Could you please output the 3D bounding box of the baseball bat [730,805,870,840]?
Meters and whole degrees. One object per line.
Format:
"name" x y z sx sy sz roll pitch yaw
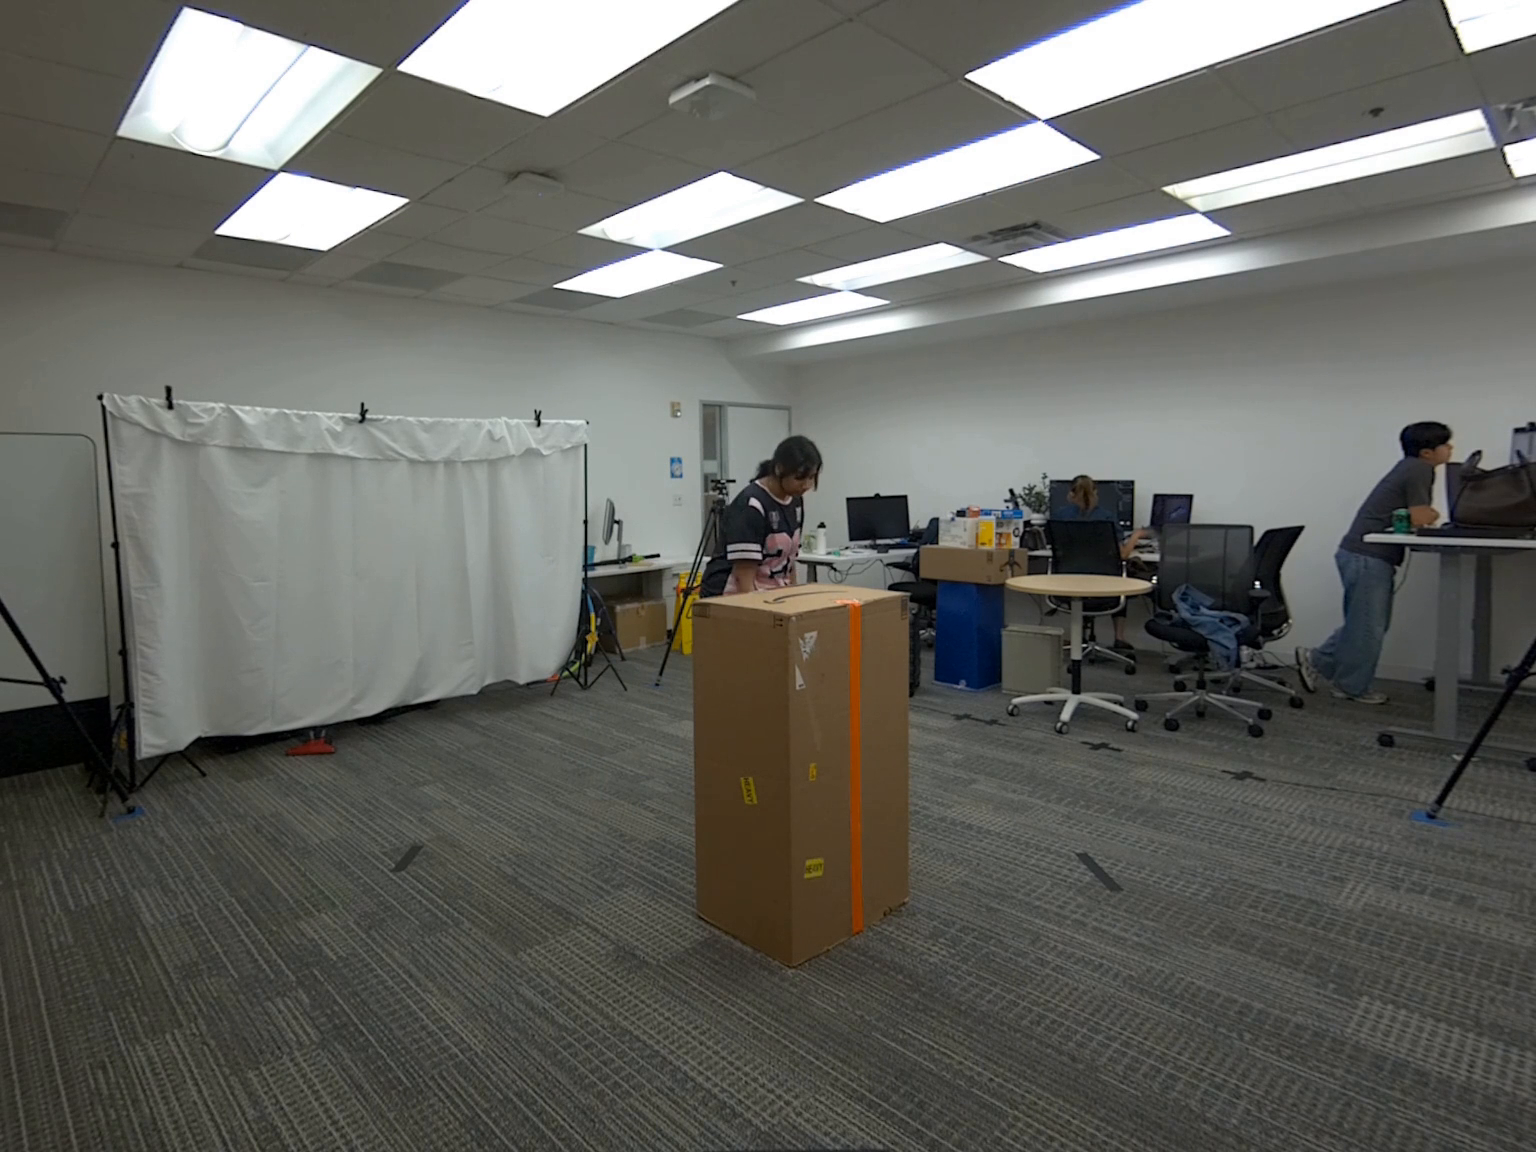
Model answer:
"baseball bat" 0.126 0.977 3.405 0.538 0.089 0.090 1 4 -8
